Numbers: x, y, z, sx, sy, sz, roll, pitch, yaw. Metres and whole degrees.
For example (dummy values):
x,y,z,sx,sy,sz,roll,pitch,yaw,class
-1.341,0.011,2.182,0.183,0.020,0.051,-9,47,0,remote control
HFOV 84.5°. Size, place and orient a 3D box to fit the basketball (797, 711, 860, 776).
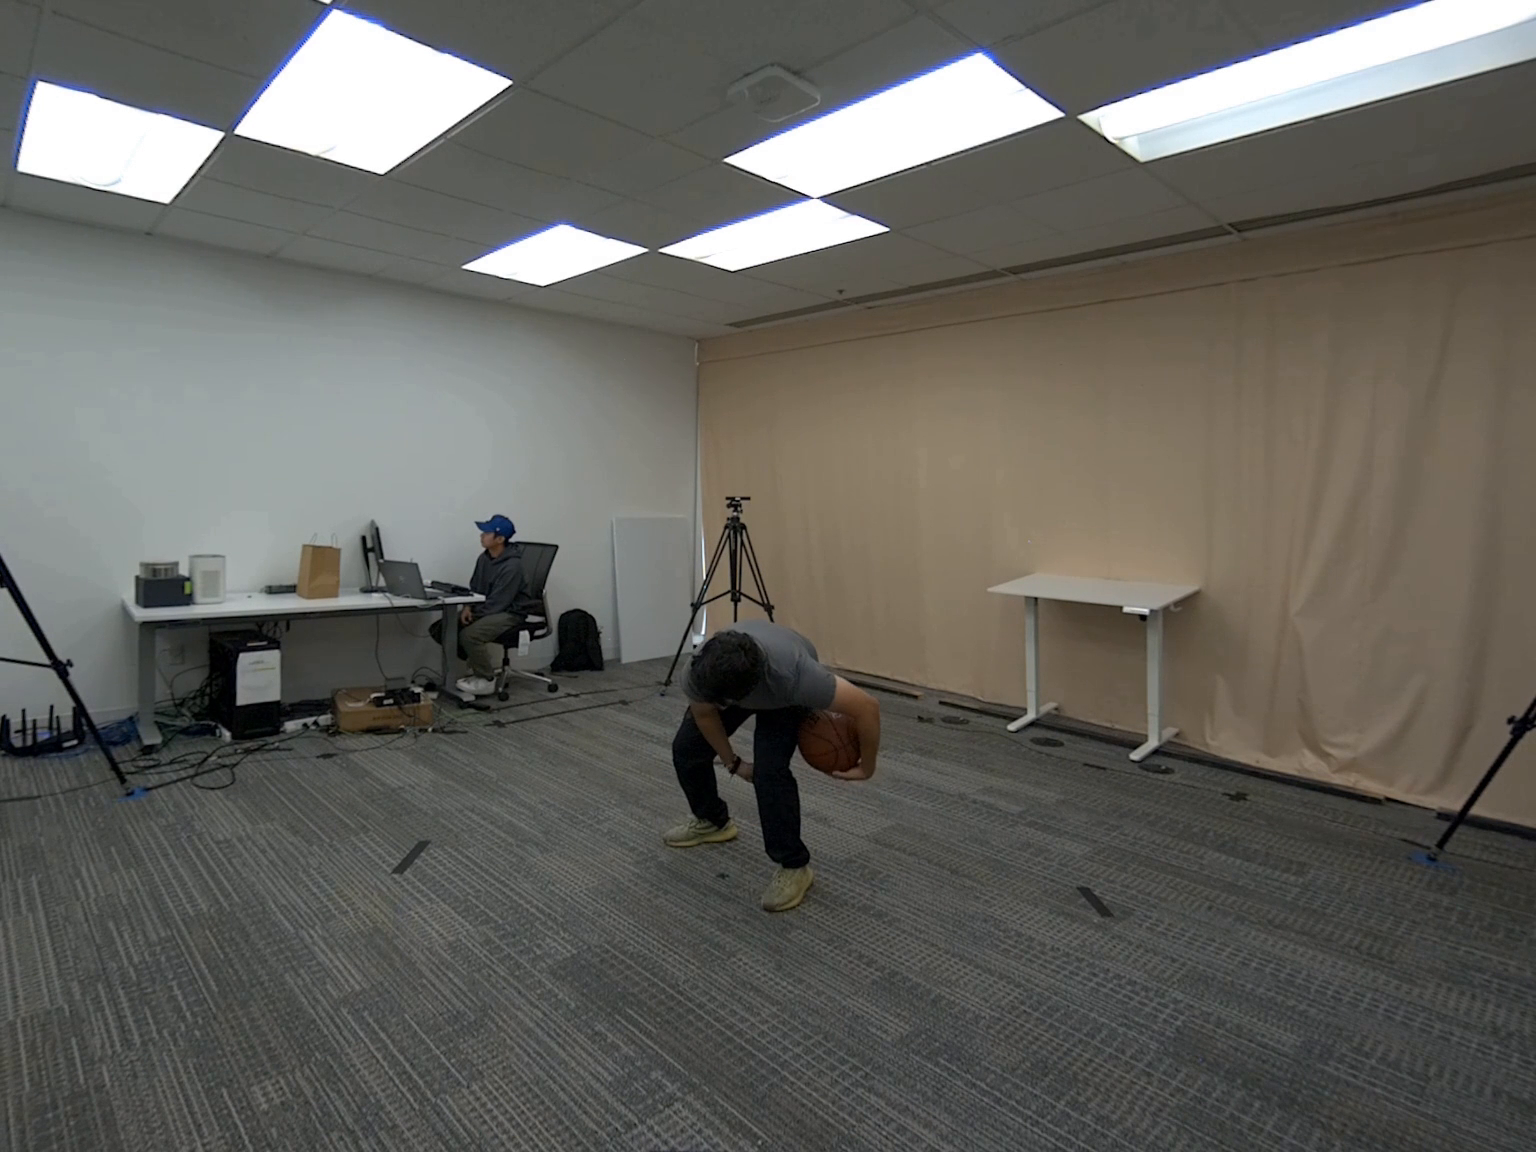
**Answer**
x,y,z,sx,sy,sz,roll,pitch,yaw,class
0.207,0.566,2.937,0.236,0.235,0.237,1,4,-1,basketball
